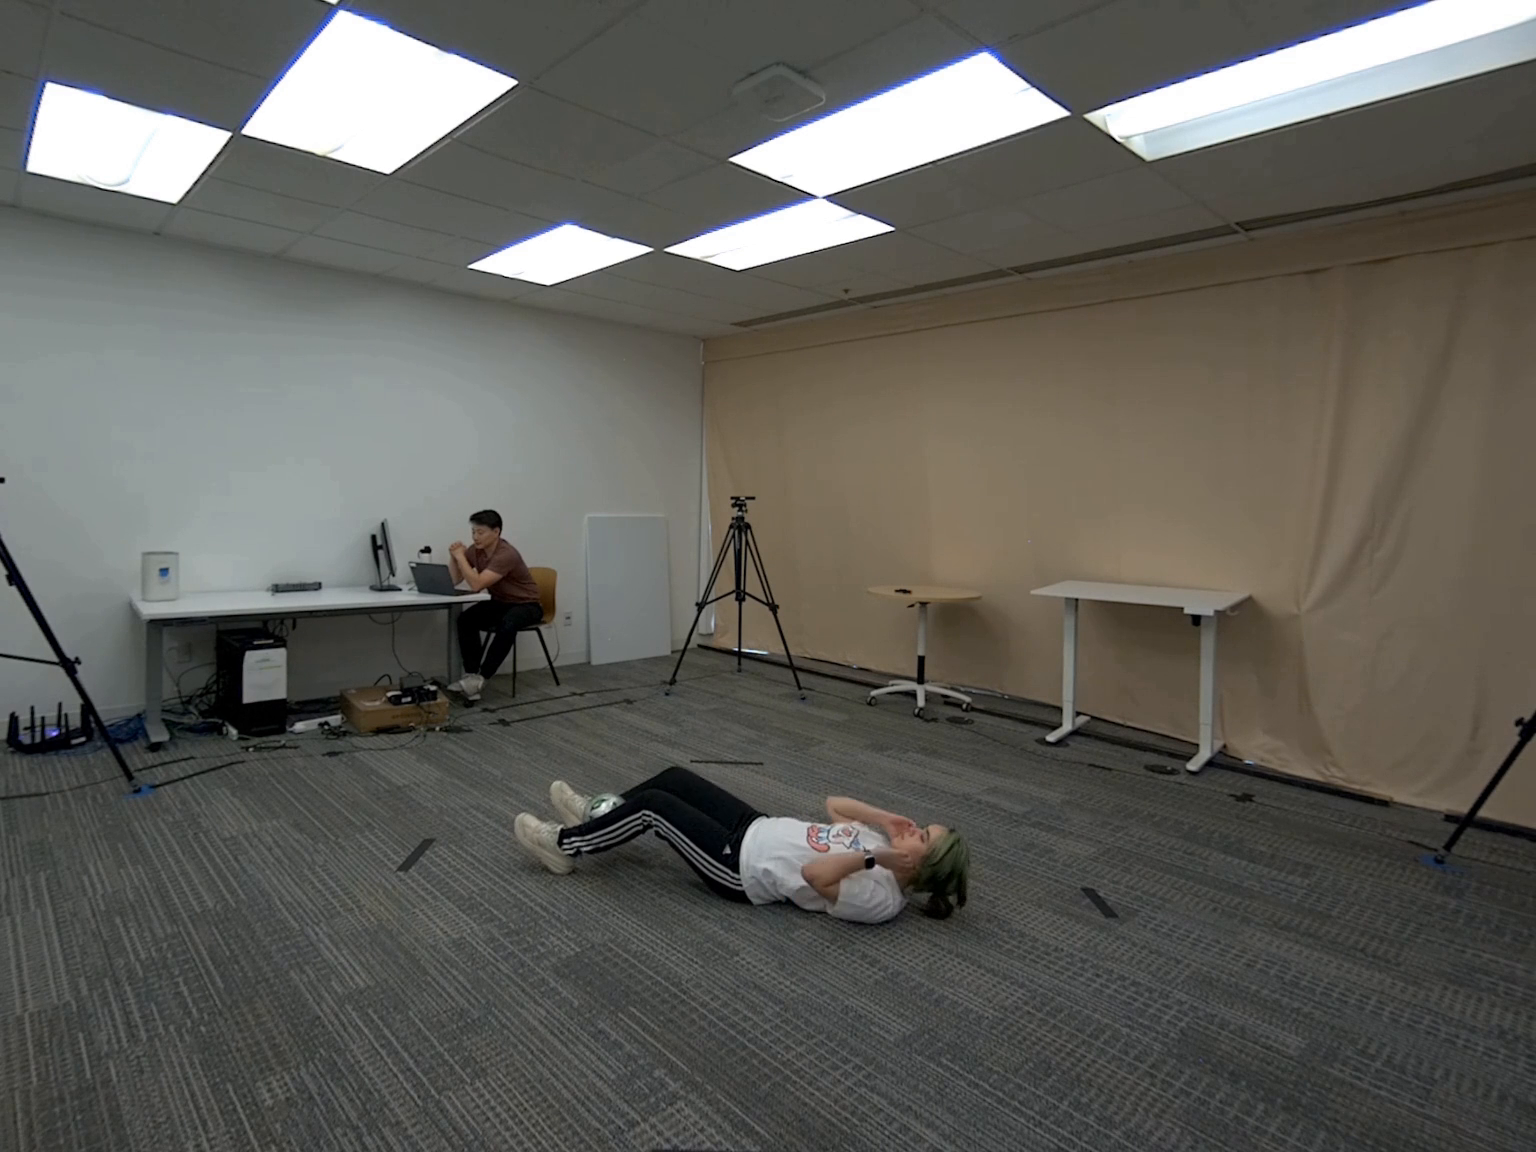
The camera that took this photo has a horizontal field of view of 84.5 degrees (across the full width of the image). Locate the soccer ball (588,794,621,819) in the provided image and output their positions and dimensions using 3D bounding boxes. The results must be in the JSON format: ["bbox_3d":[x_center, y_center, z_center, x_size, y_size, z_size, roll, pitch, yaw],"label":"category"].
[{"bbox_3d":[-0.594,0.910,3.172,0.187,0.187,0.188,1,4,-1],"label":"soccer ball"}]
